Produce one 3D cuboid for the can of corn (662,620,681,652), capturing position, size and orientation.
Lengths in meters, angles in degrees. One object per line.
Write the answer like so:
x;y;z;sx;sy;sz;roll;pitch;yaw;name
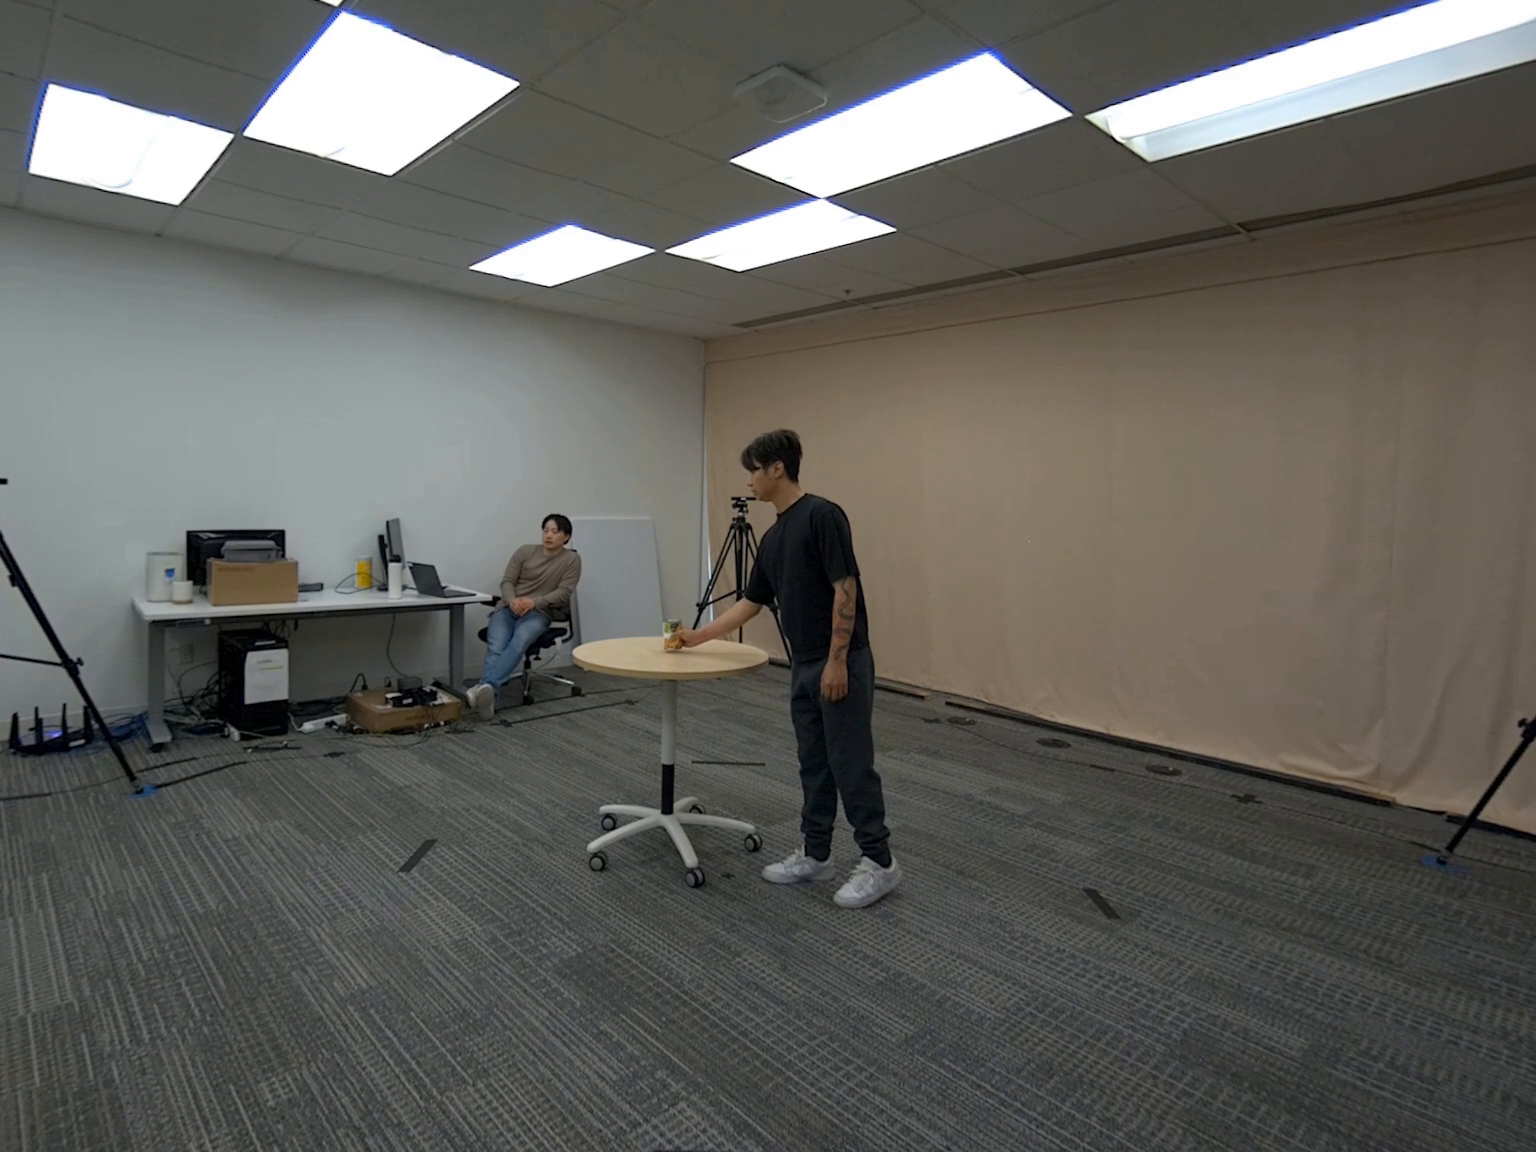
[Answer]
-0.382;0.223;3.304;0.074;0.111;0.074;0;4;-1;can of corn
